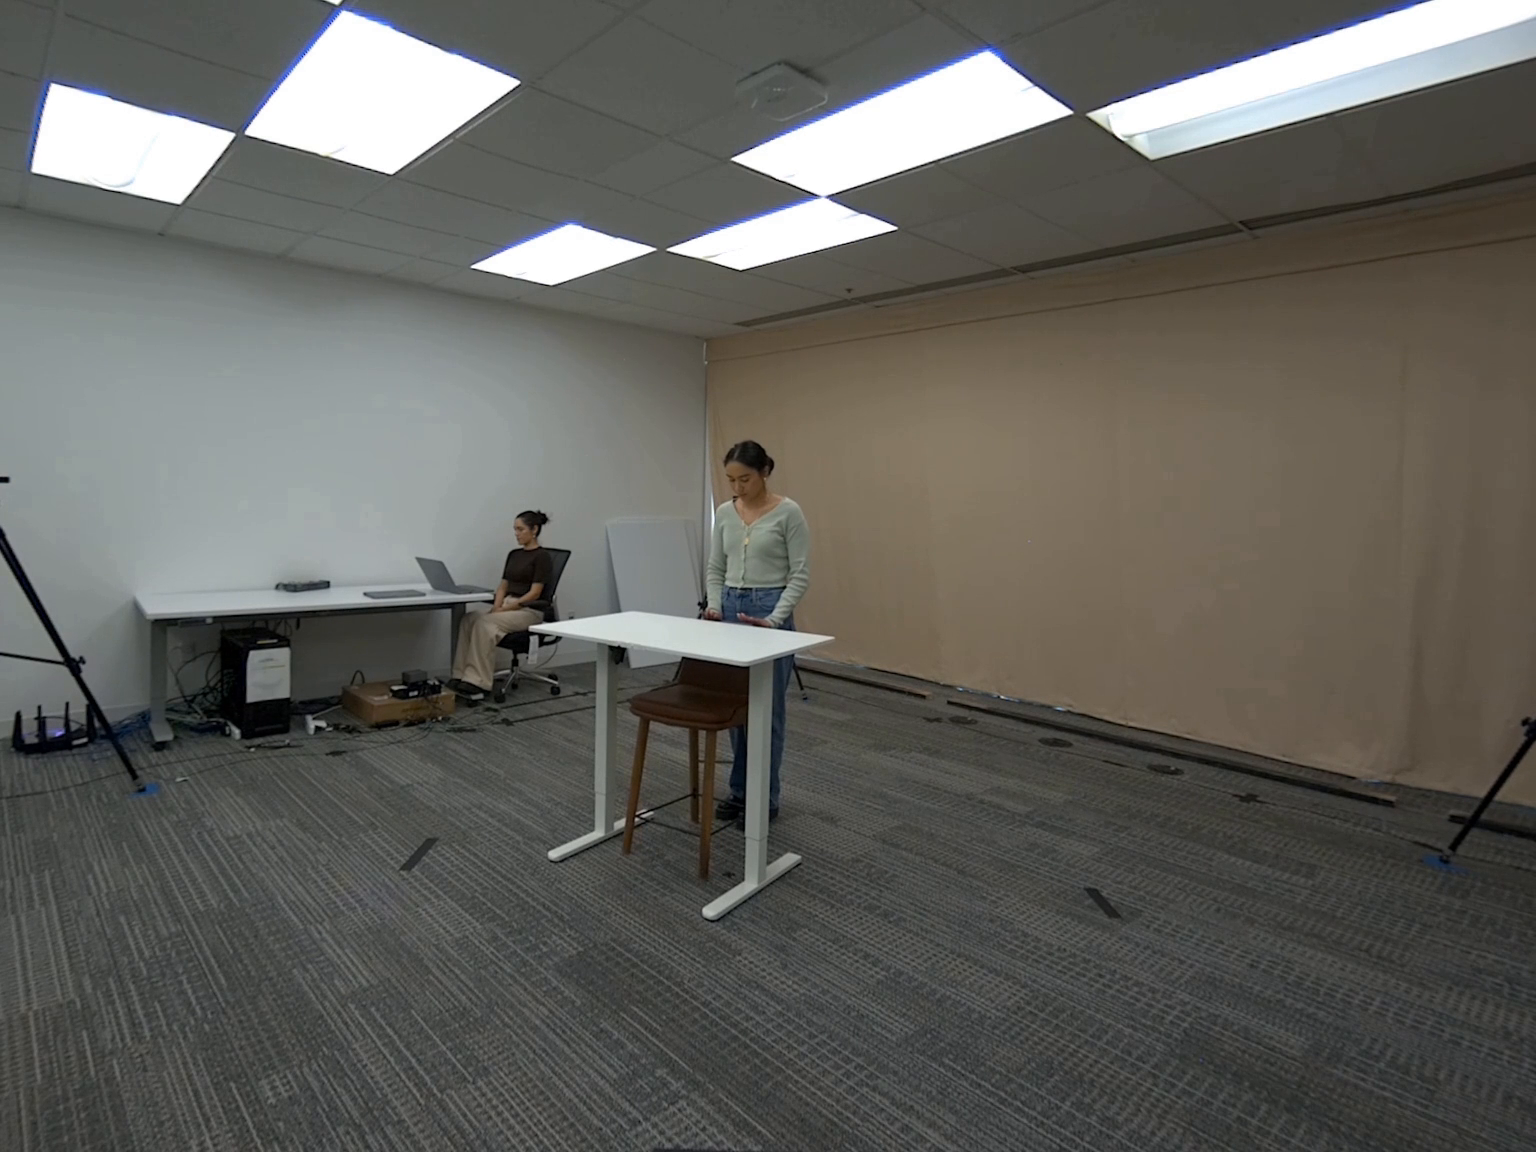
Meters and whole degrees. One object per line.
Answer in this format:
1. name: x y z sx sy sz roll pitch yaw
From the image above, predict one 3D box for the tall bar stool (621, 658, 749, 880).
1. tall bar stool: -0.272 0.648 3.326 0.467 0.889 0.457 3 1 34
